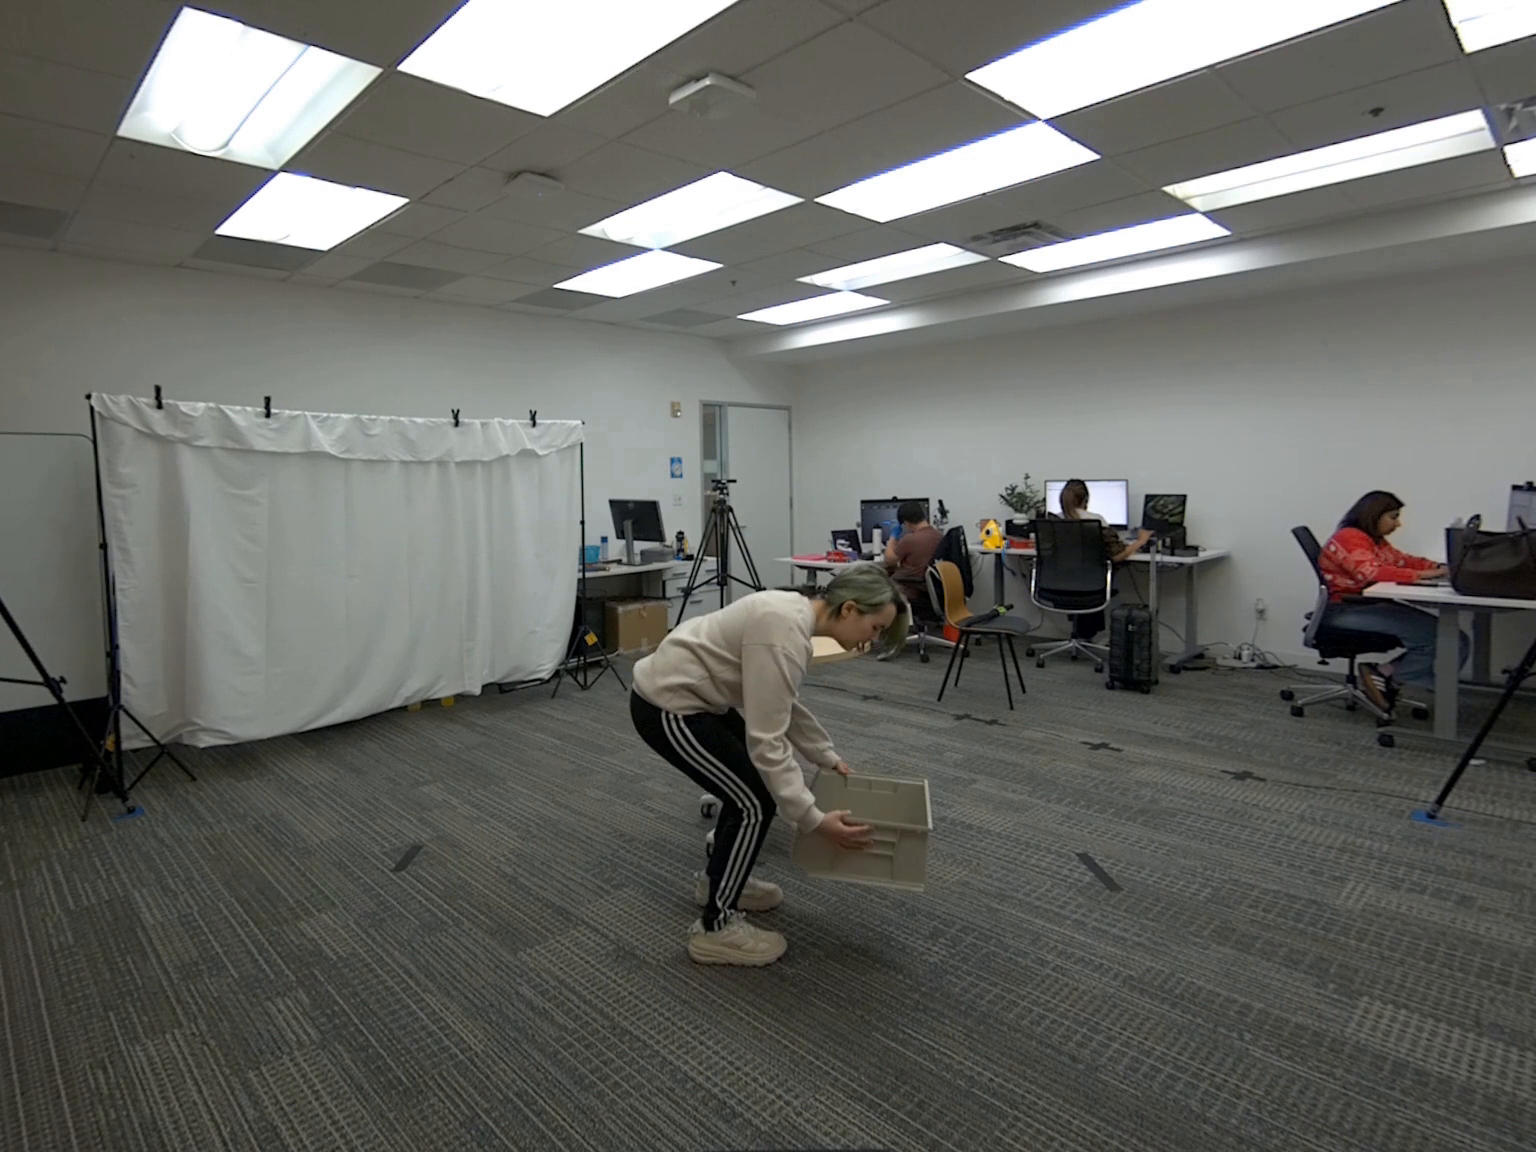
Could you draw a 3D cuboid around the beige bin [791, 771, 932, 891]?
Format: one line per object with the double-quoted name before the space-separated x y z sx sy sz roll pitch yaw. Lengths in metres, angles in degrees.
"beige bin" 0.287 0.735 2.516 0.382 0.188 0.419 4 4 10
